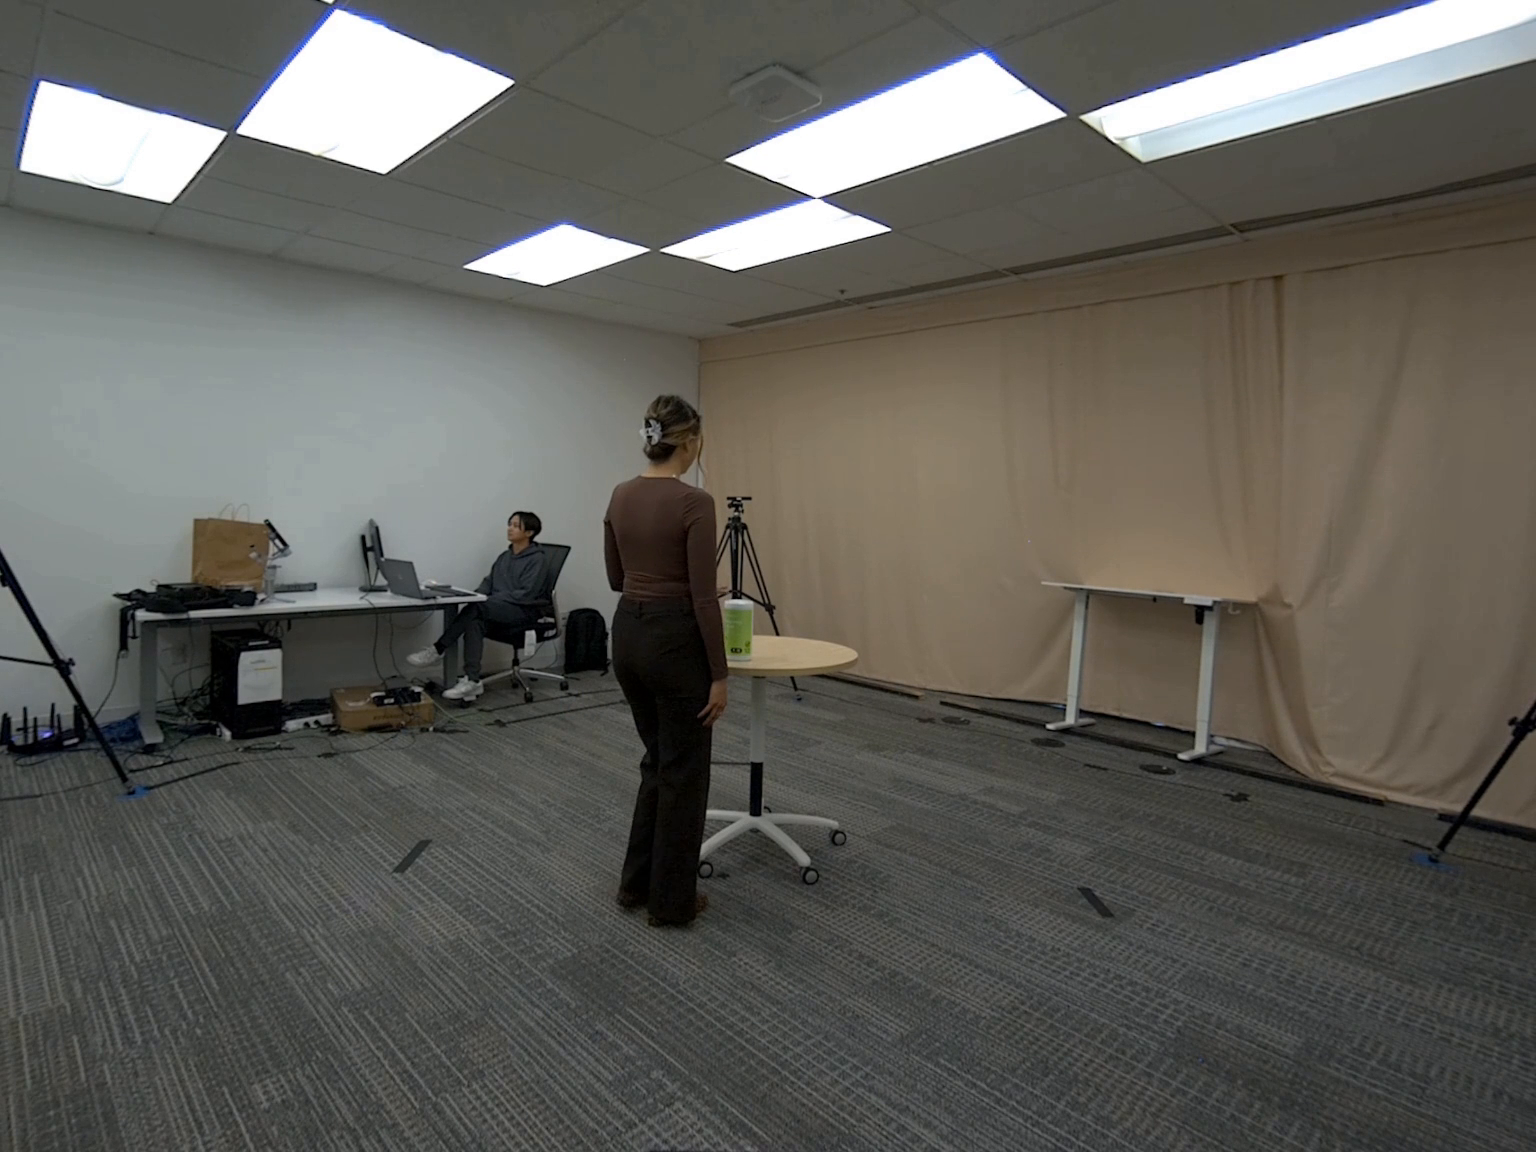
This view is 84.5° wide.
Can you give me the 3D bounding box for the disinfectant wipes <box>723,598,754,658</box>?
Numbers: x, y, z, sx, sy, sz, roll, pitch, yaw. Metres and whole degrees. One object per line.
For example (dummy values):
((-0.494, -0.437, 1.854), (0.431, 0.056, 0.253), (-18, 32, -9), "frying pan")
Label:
((-0.110, 0.200, 3.104), (0.118, 0.217, 0.118), (1, 4, -1), "disinfectant wipes")
